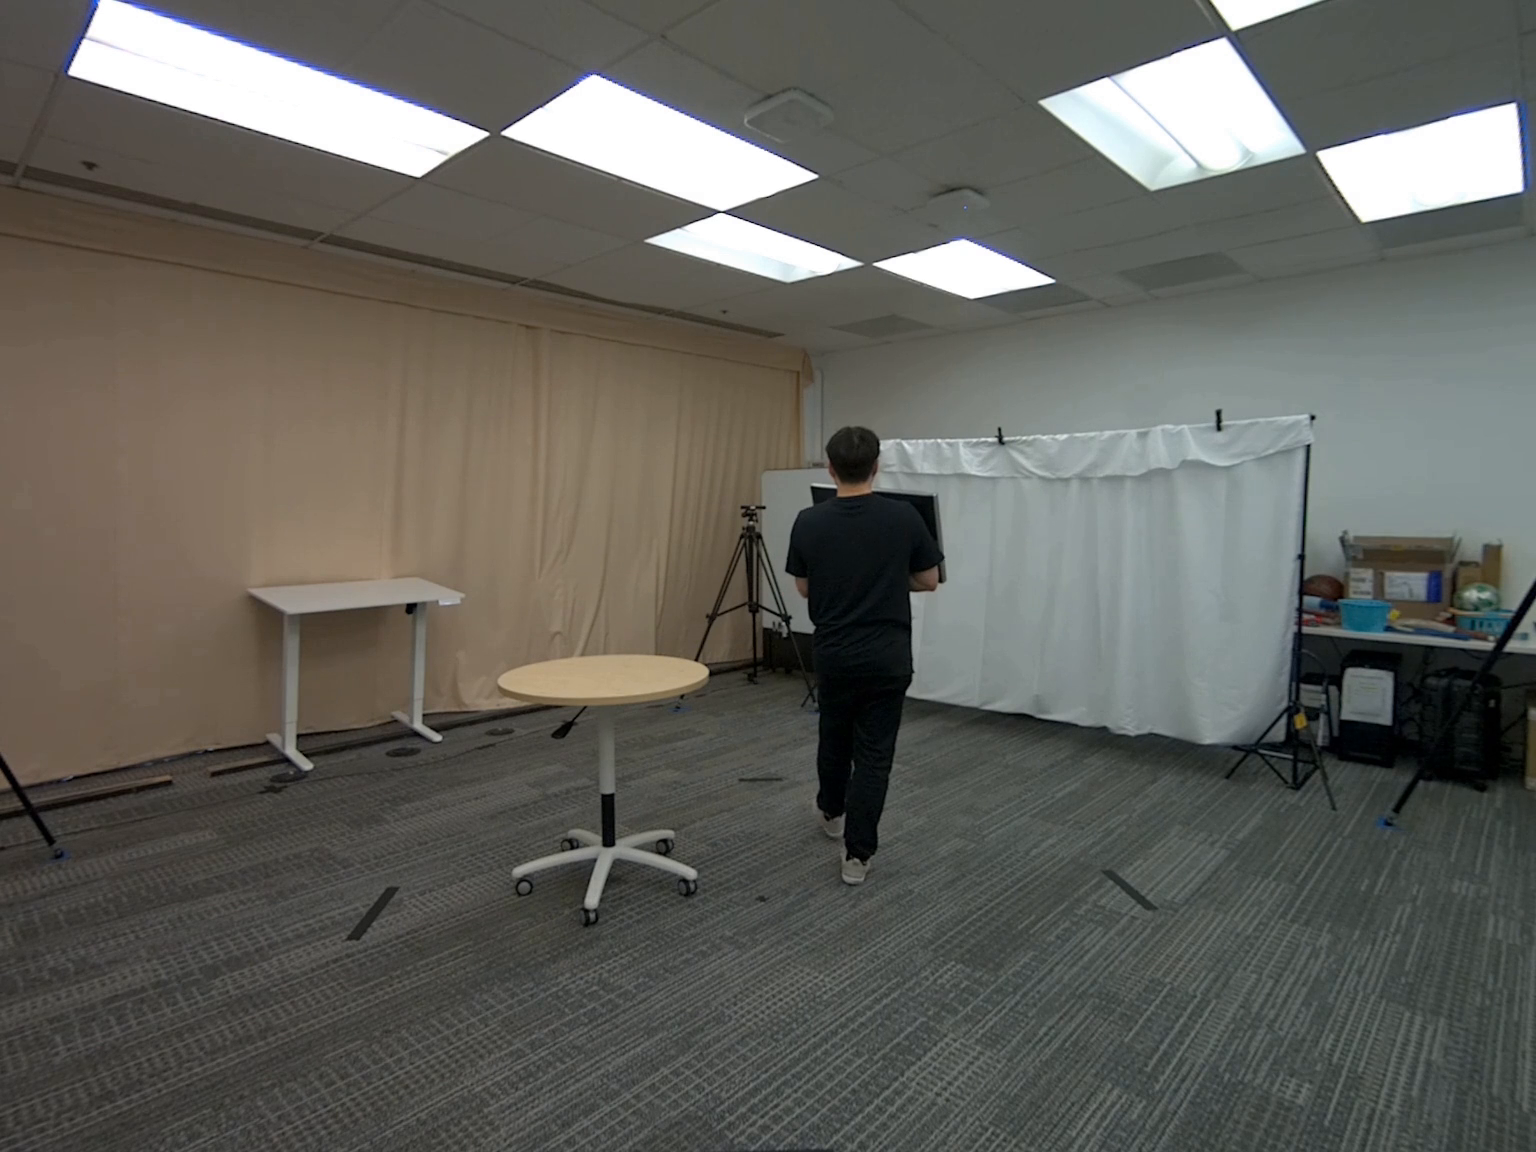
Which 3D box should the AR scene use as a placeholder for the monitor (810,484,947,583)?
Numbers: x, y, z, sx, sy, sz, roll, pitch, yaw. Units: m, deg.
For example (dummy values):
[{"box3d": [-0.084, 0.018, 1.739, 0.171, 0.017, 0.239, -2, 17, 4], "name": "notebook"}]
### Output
[{"box3d": [0.410, -0.079, 3.312, 0.558, 0.518, 0.182, 10, 18, 41], "name": "monitor"}]
